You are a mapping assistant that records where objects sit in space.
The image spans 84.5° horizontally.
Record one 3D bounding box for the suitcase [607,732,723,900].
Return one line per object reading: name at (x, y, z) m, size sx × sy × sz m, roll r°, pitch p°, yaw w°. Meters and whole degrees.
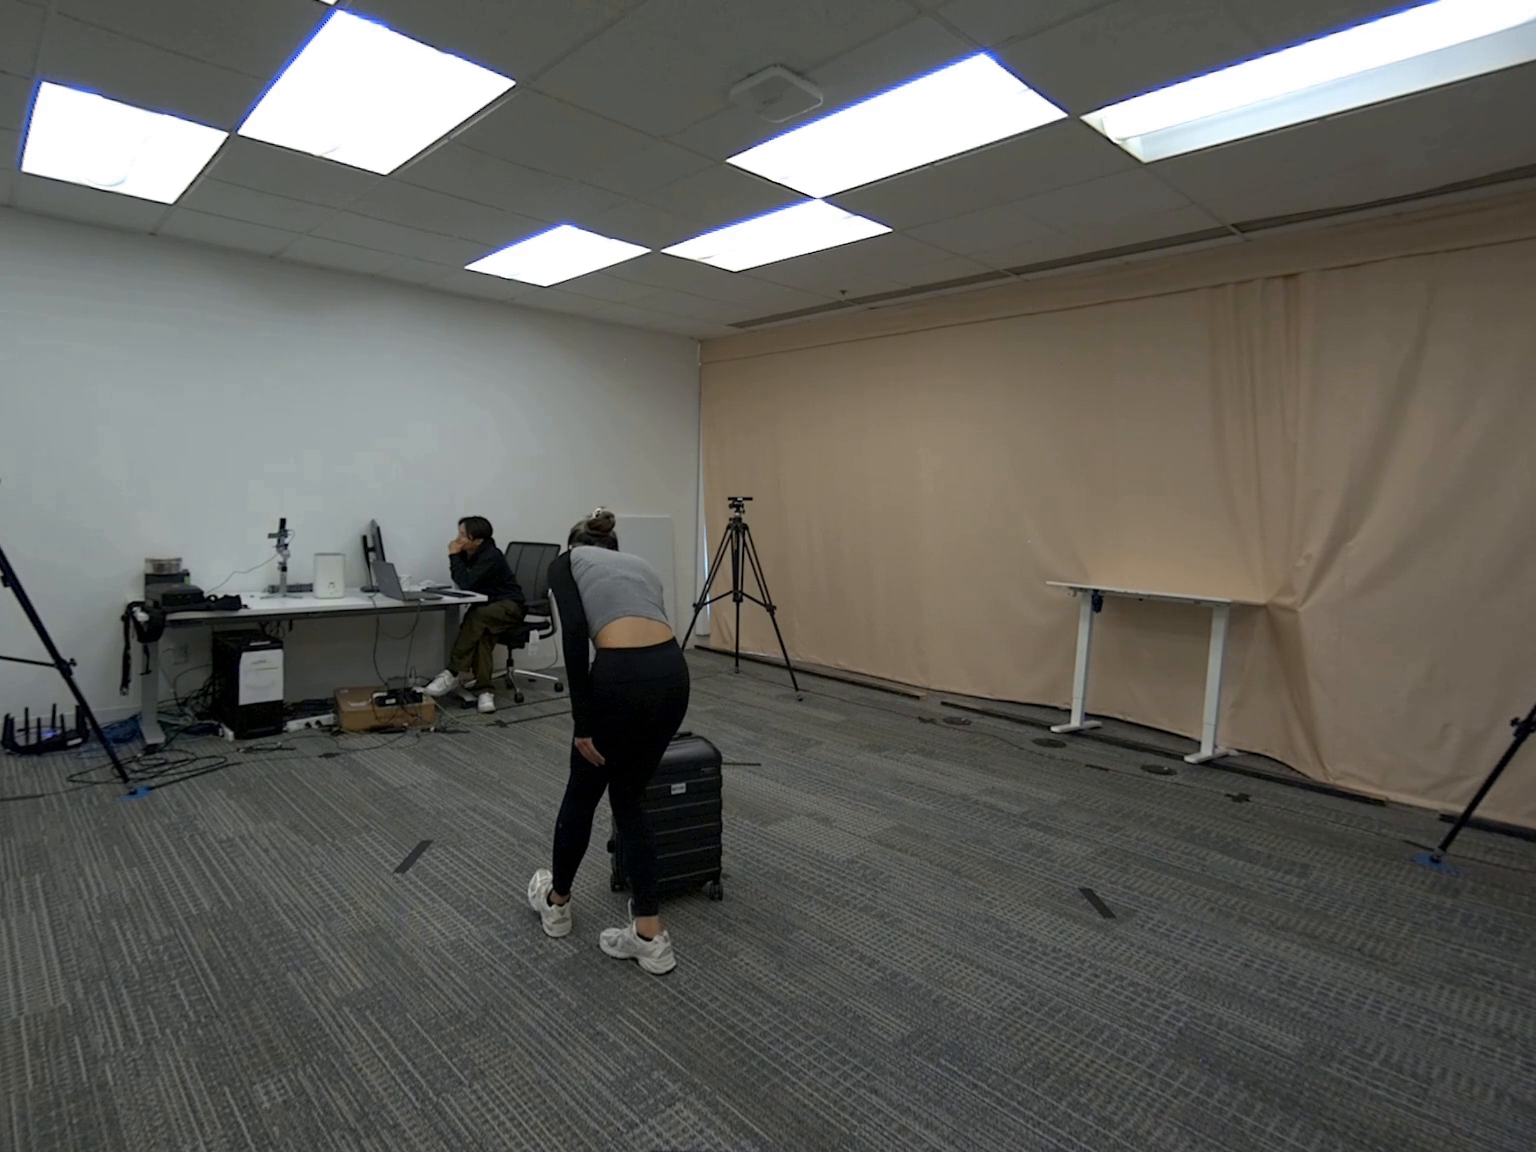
suitcase at (-0.358, 0.843, 2.960) m, size 0.368 × 0.548 × 0.254 m, roll -1°, pitch 3°, yaw -29°
